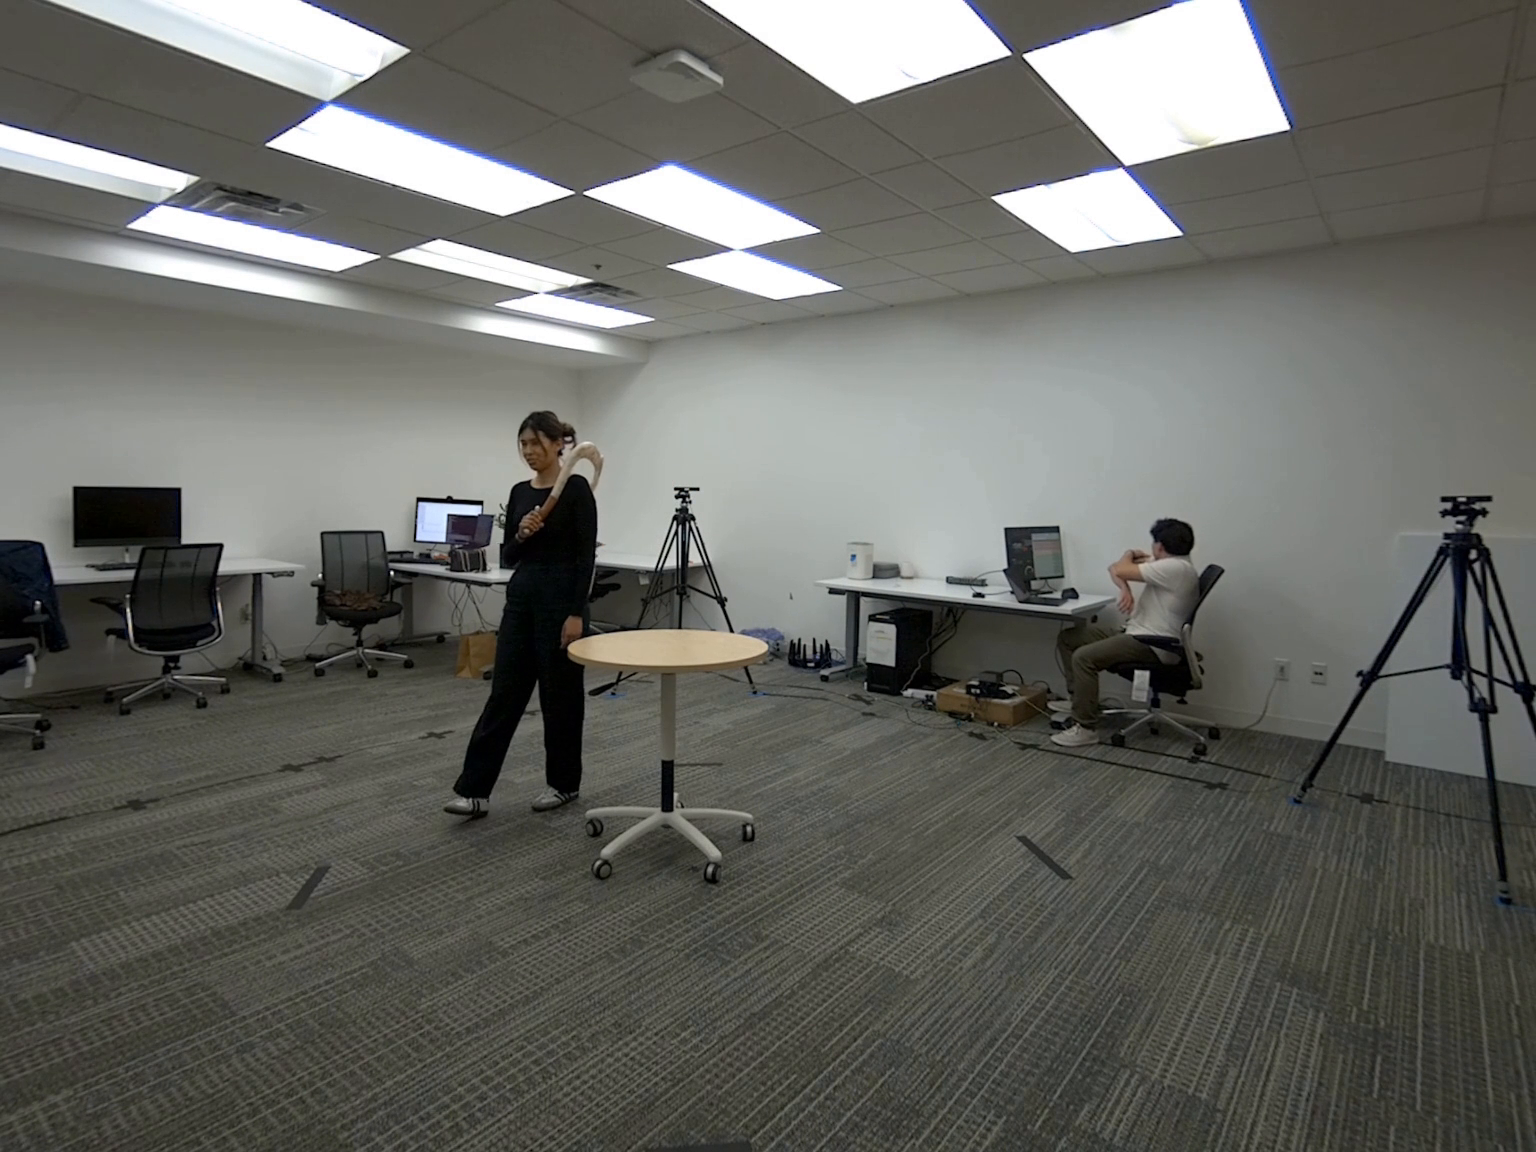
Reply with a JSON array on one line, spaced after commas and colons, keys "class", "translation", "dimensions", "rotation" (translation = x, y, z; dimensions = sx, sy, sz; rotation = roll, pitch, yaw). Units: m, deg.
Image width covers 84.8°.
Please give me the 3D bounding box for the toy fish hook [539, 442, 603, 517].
[{"class": "toy fish hook", "translation": [-0.880, -0.350, 3.623], "dimensions": [0.050, 0.509, 0.215], "rotation": [14, -27, 37]}]
